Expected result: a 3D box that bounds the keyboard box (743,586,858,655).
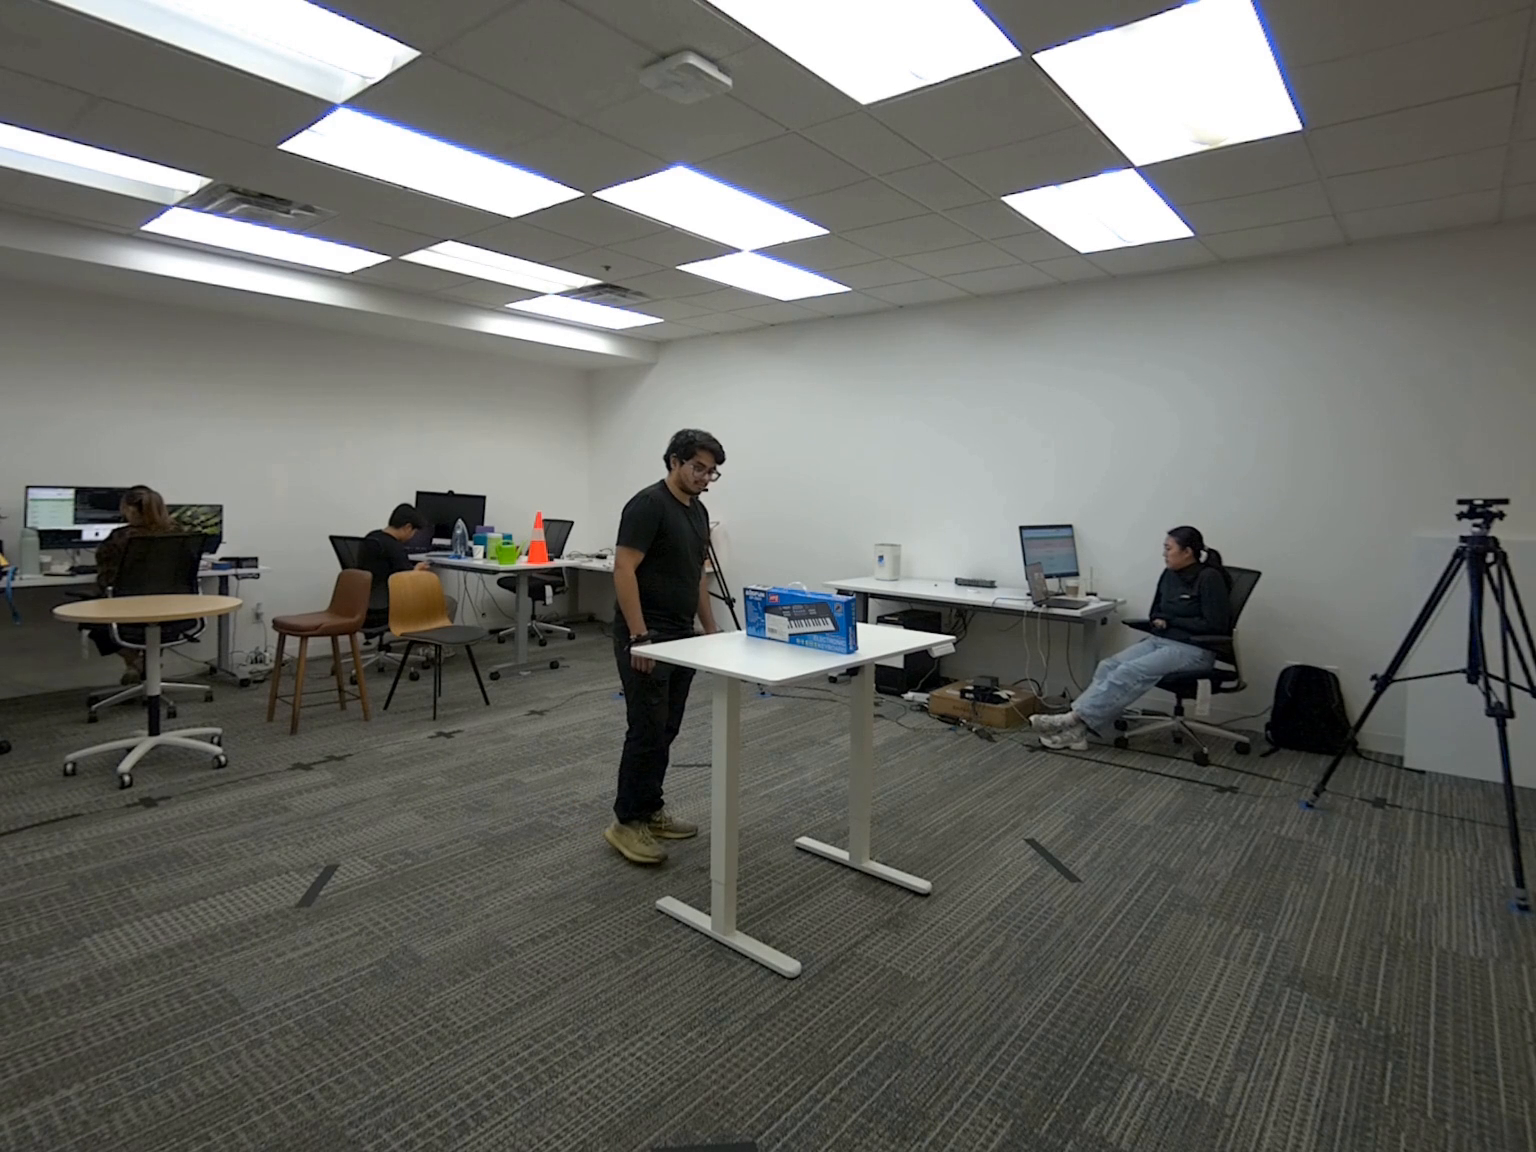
[{"bbox_3d":[0.091,0.137,2.801,0.452,0.174,0.057,6,13,44],"label":"keyboard box"}]
